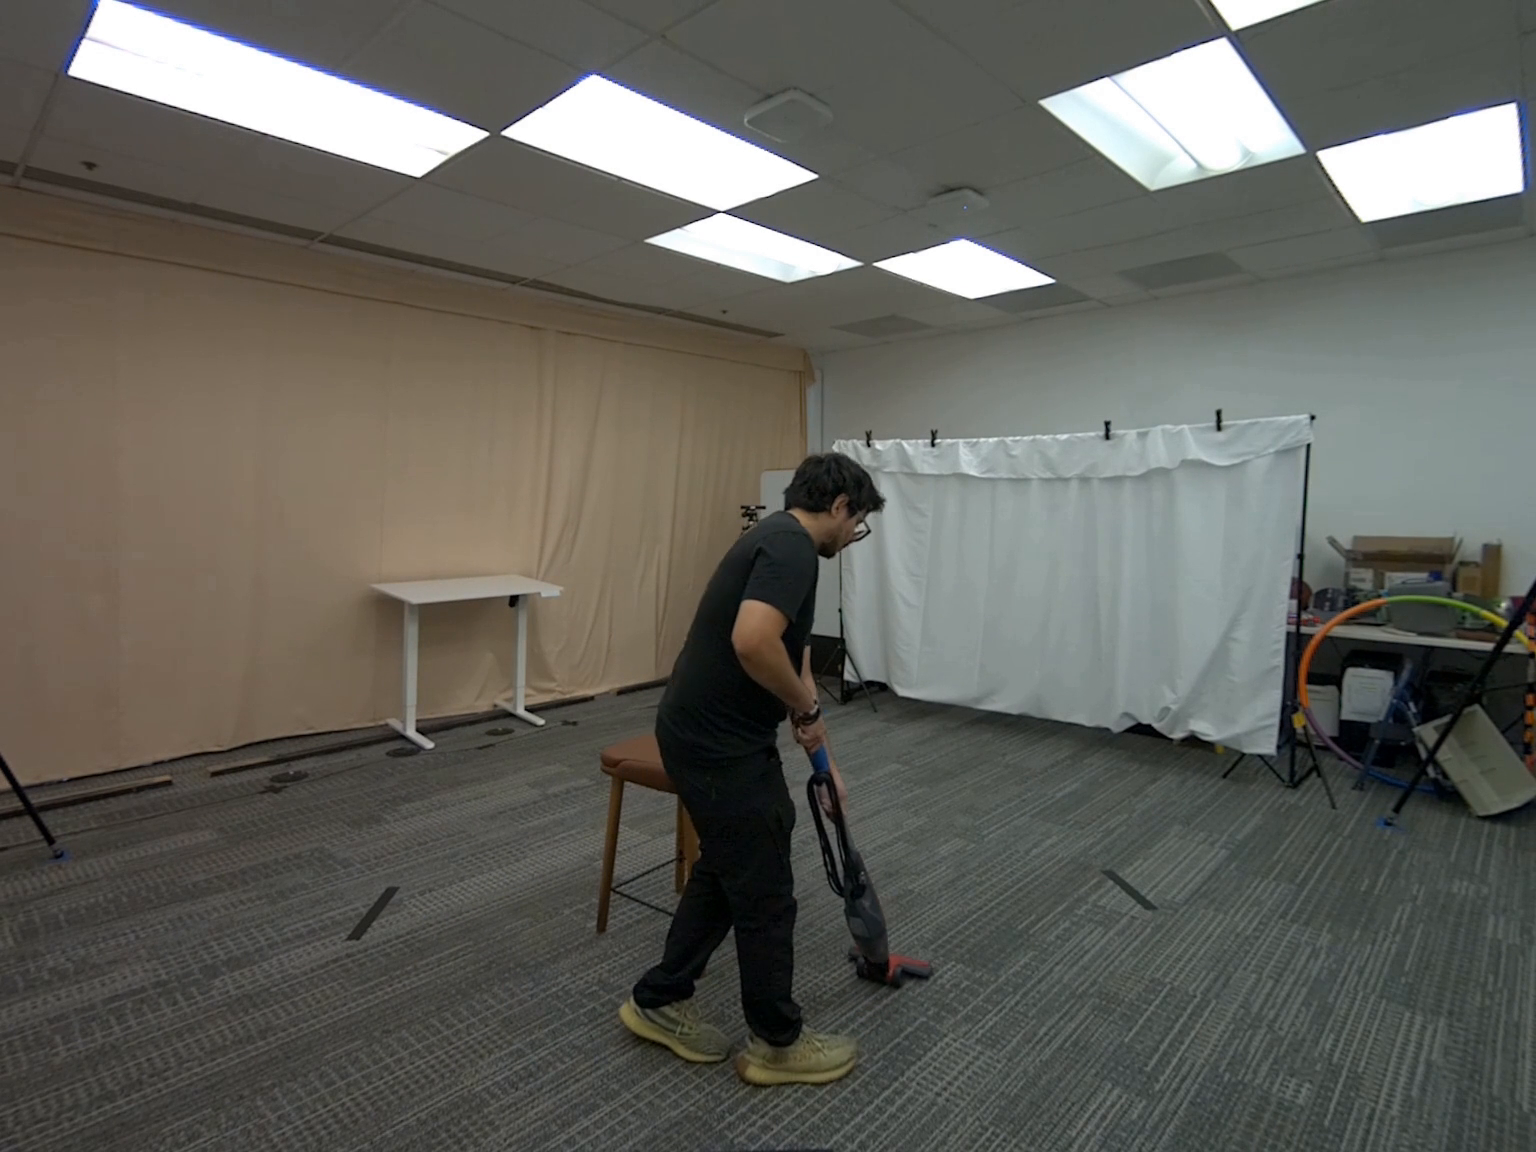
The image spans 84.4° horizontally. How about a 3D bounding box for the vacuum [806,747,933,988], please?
[{"bbox_3d":[0.219,0.770,2.243,0.260,1.023,0.143,4,38,31],"label":"vacuum"}]
